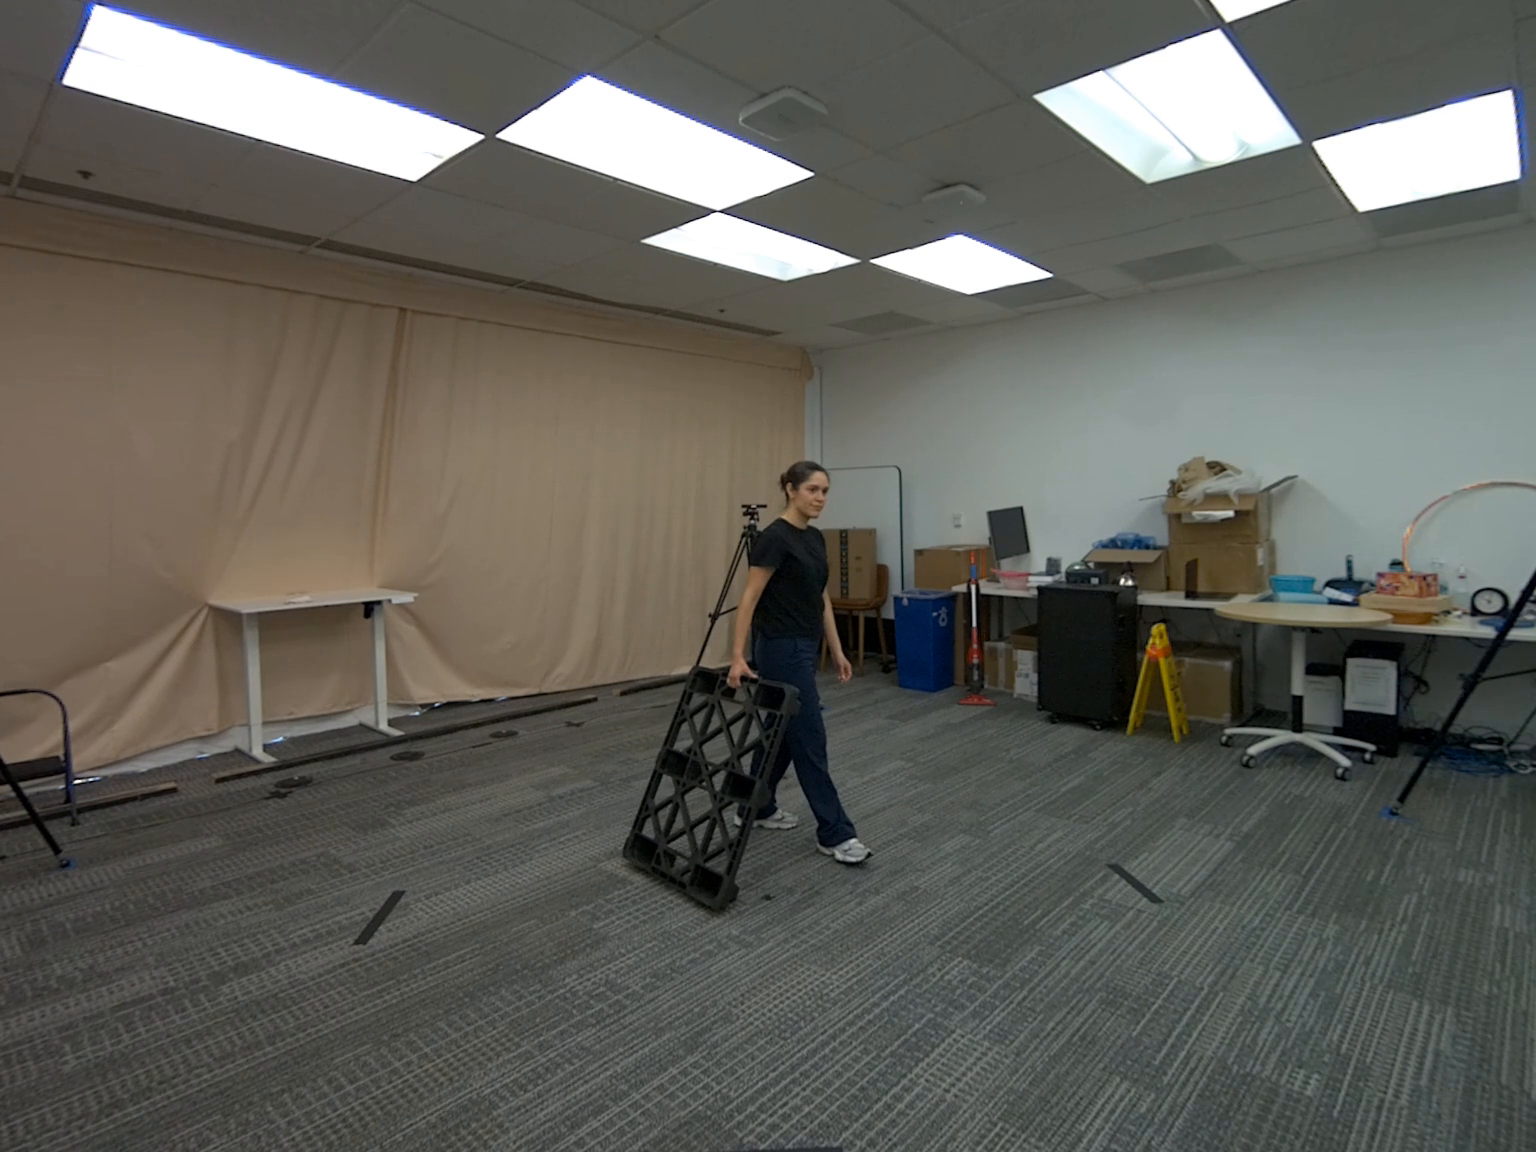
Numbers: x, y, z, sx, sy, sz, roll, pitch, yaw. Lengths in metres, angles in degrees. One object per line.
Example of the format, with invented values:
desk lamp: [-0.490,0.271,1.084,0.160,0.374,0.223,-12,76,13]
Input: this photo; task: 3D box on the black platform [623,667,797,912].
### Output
black platform: [-0.182,0.766,3.191,0.625,0.808,0.138,4,-22,48]
